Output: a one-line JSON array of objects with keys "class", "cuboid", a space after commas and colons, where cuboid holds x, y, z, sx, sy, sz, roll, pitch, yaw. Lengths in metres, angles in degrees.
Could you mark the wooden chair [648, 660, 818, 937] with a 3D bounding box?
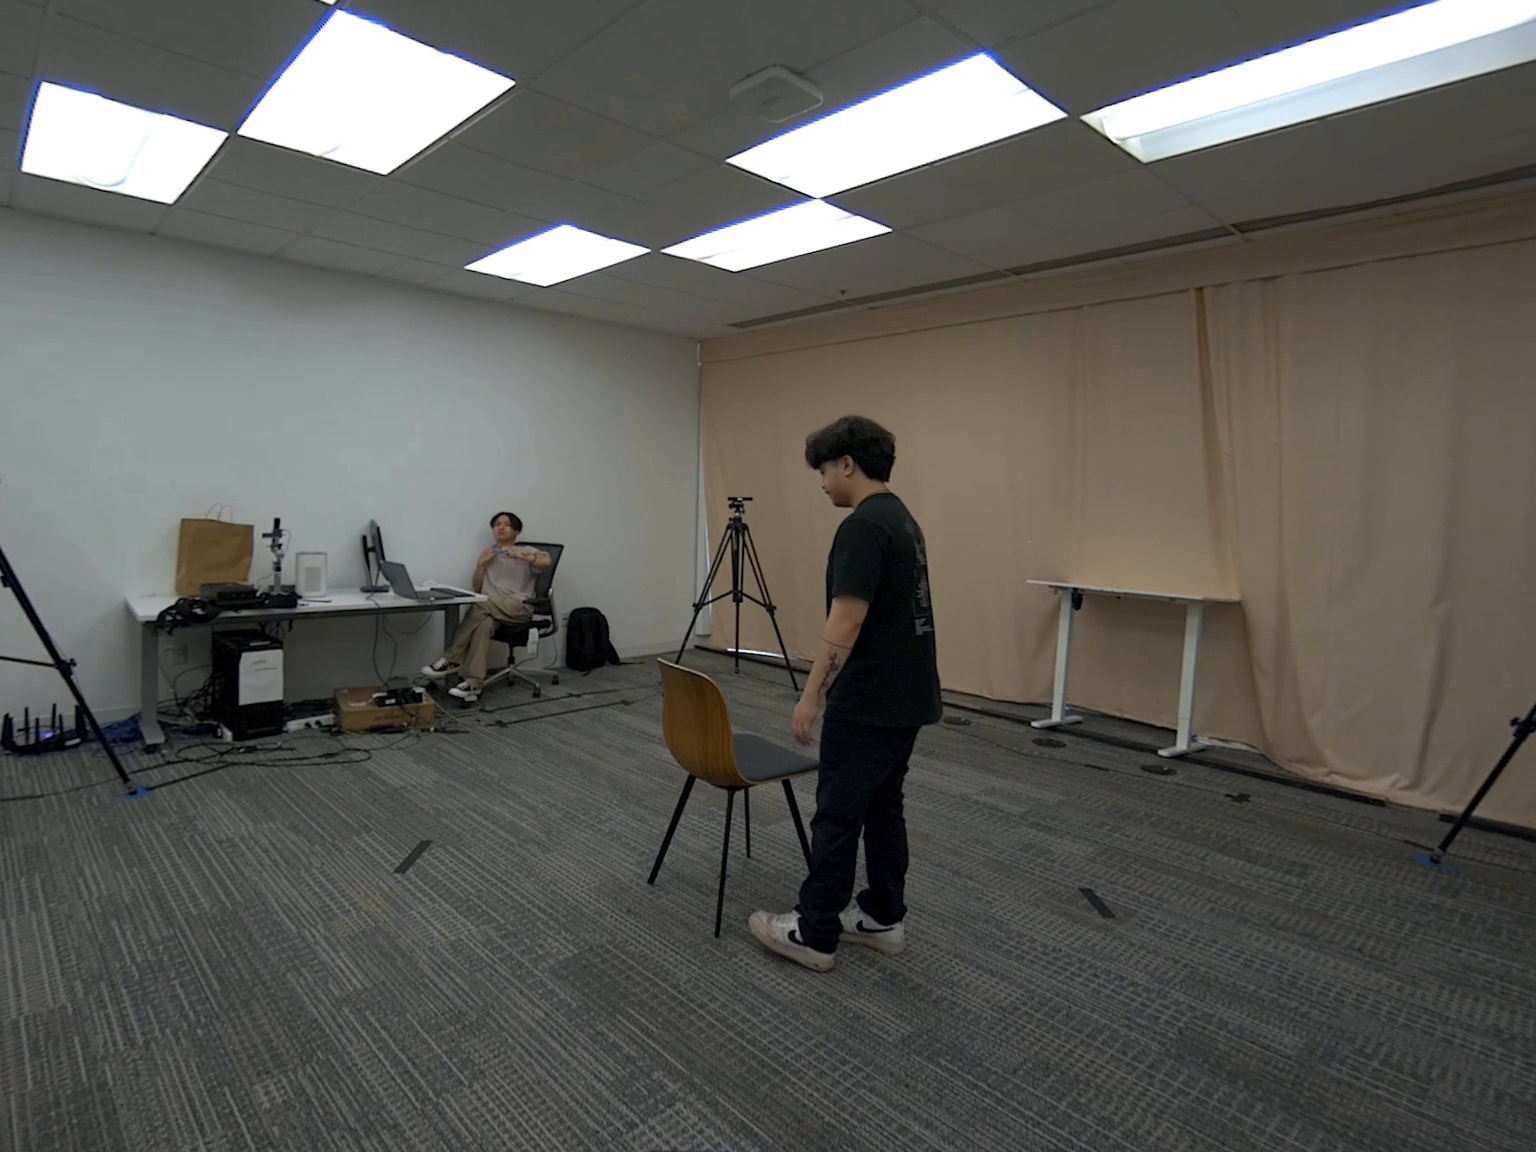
[{"class": "wooden chair", "cuboid": [-0.105, 0.693, 2.953, 0.512, 0.873, 0.490, -6, 7, -36]}]
